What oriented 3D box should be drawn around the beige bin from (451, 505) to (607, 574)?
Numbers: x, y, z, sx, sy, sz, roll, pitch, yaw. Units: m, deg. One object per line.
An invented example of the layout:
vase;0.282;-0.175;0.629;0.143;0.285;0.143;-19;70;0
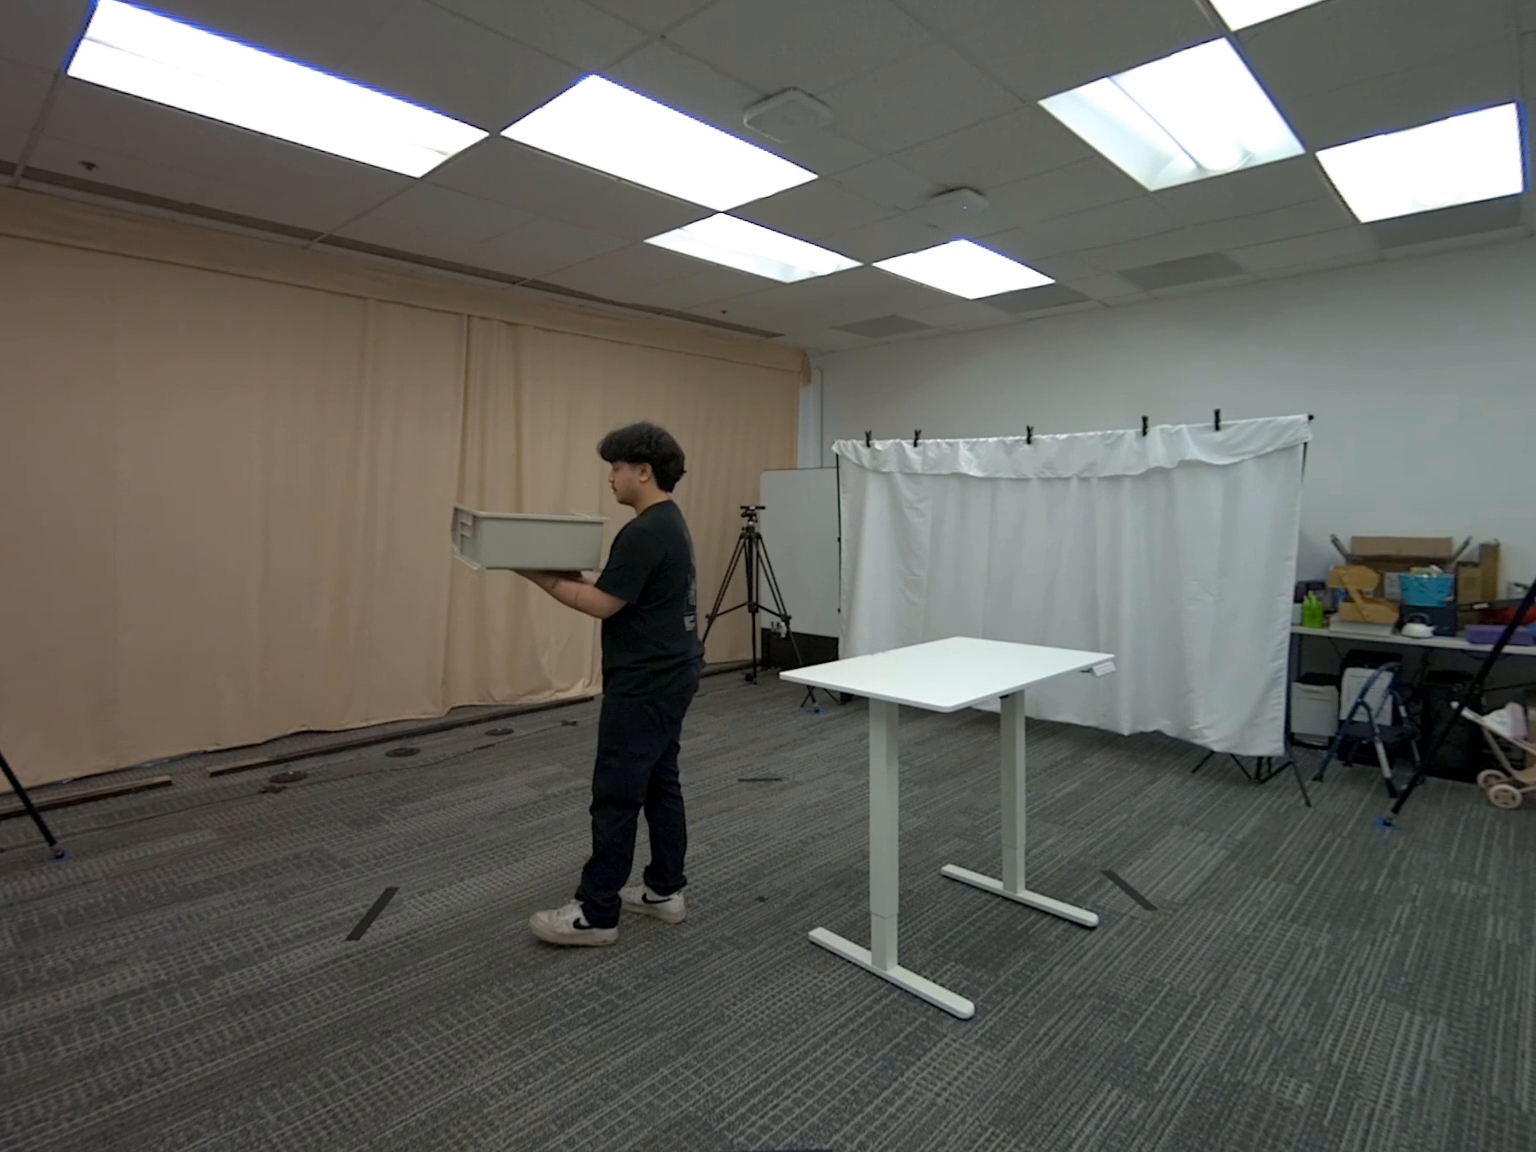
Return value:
beige bin;-0.796;-0.124;2.776;0.411;0.188;0.389;1;8;-30
